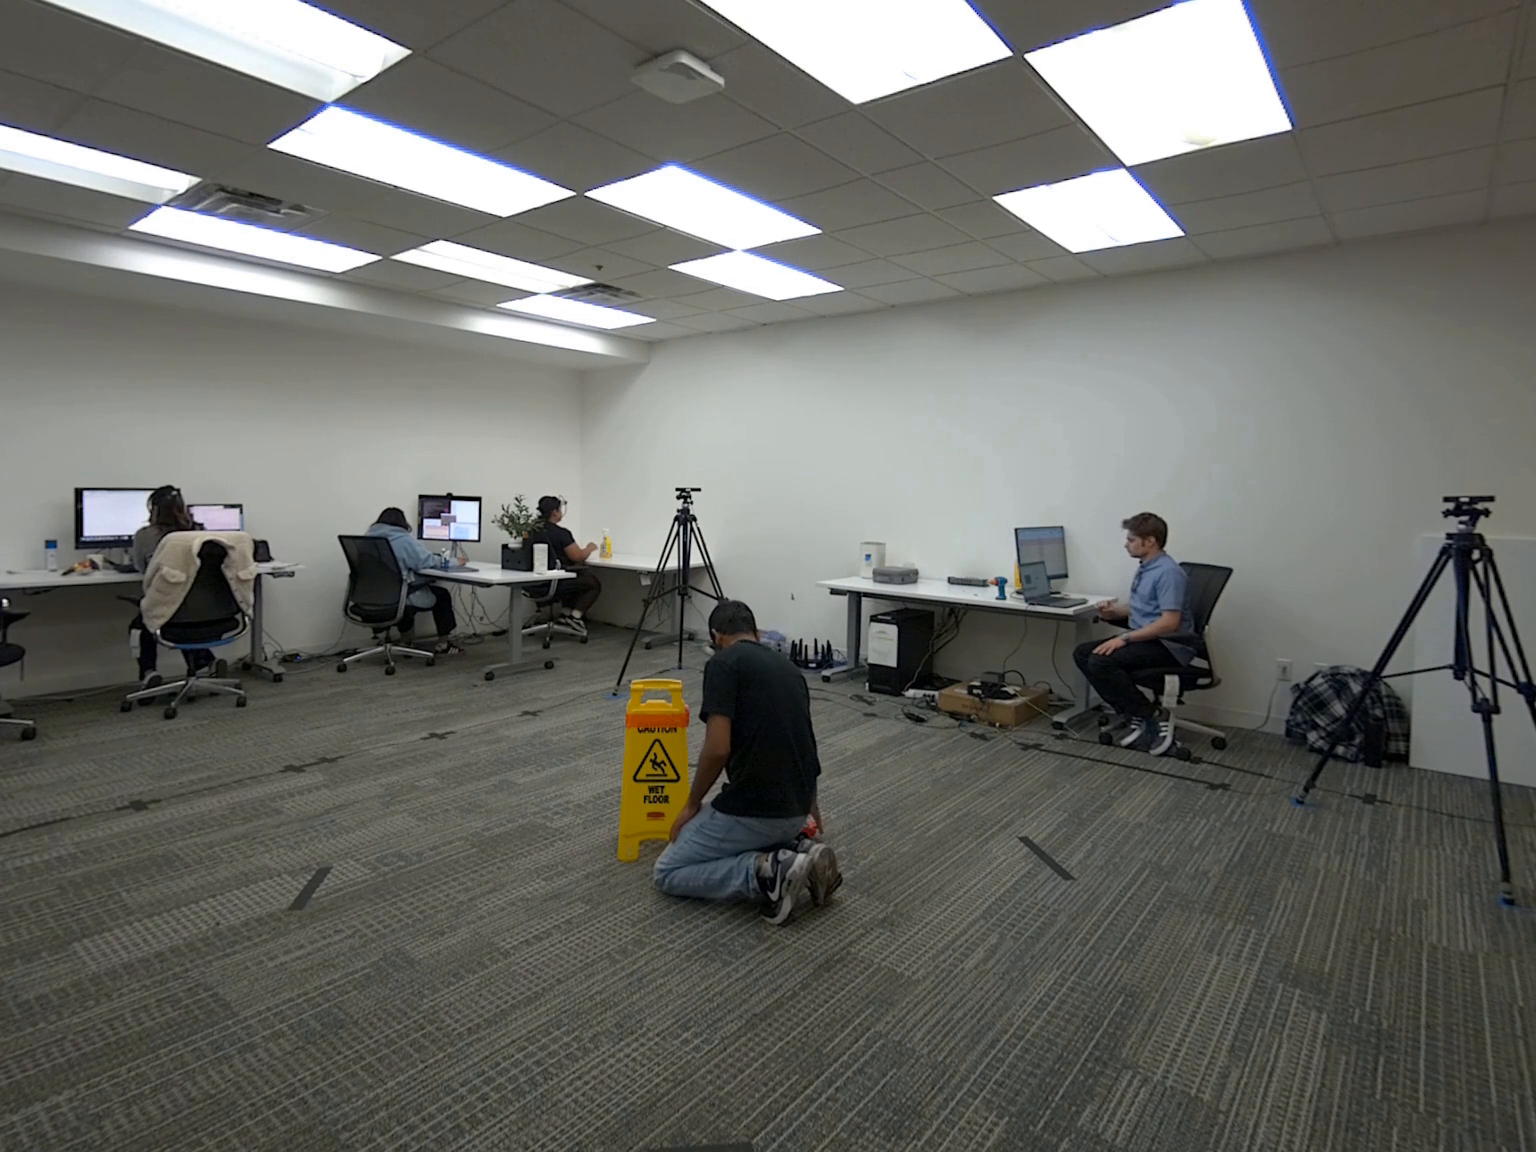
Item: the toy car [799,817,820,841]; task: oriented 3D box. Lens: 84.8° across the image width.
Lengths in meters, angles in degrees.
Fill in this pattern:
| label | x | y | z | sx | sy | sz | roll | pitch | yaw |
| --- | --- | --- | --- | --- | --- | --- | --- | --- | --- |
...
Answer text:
| label | x | y | z | sx | sy | sz | roll | pitch | yaw |
| --- | --- | --- | --- | --- | --- | --- | --- | --- | --- |
| toy car | 0.074 | 1.007 | 3.382 | 0.253 | 0.083 | 0.131 | -12 | 5 | -7 |
